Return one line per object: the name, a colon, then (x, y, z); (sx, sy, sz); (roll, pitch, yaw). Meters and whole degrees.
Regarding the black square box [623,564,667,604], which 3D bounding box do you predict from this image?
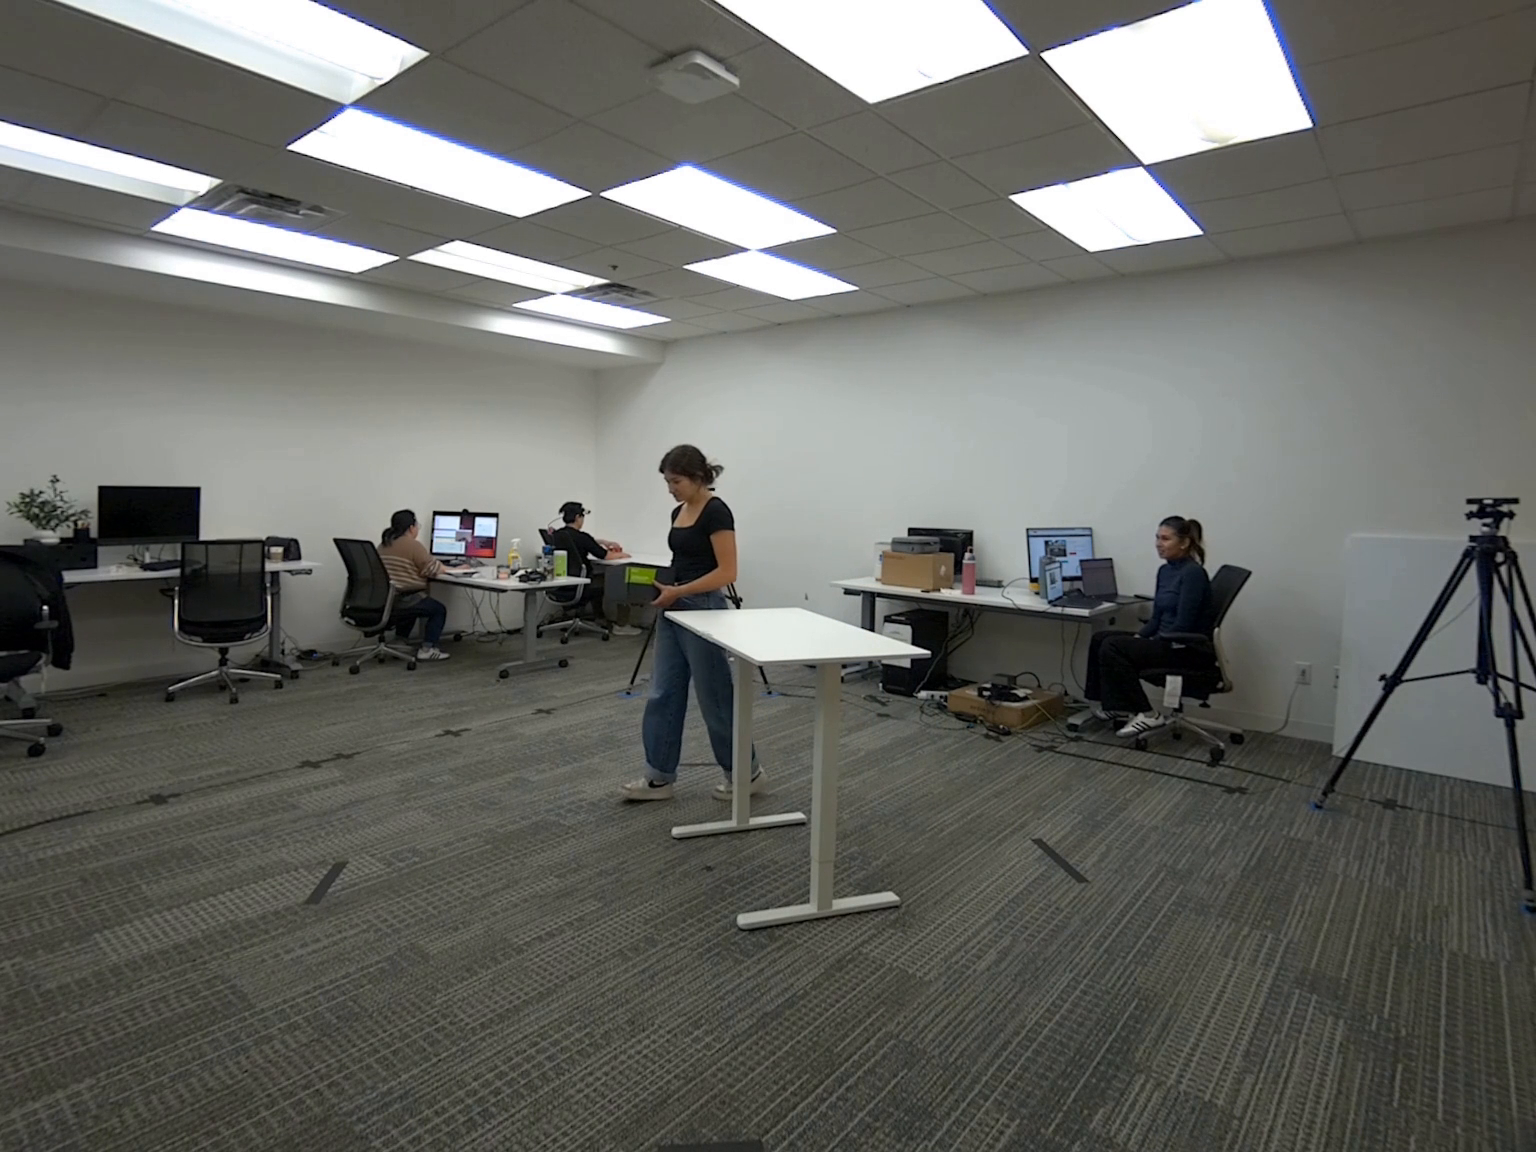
black square box: (-0.566, 0.029, 3.689); (0.220, 0.157, 0.222); (8, -10, -36)
